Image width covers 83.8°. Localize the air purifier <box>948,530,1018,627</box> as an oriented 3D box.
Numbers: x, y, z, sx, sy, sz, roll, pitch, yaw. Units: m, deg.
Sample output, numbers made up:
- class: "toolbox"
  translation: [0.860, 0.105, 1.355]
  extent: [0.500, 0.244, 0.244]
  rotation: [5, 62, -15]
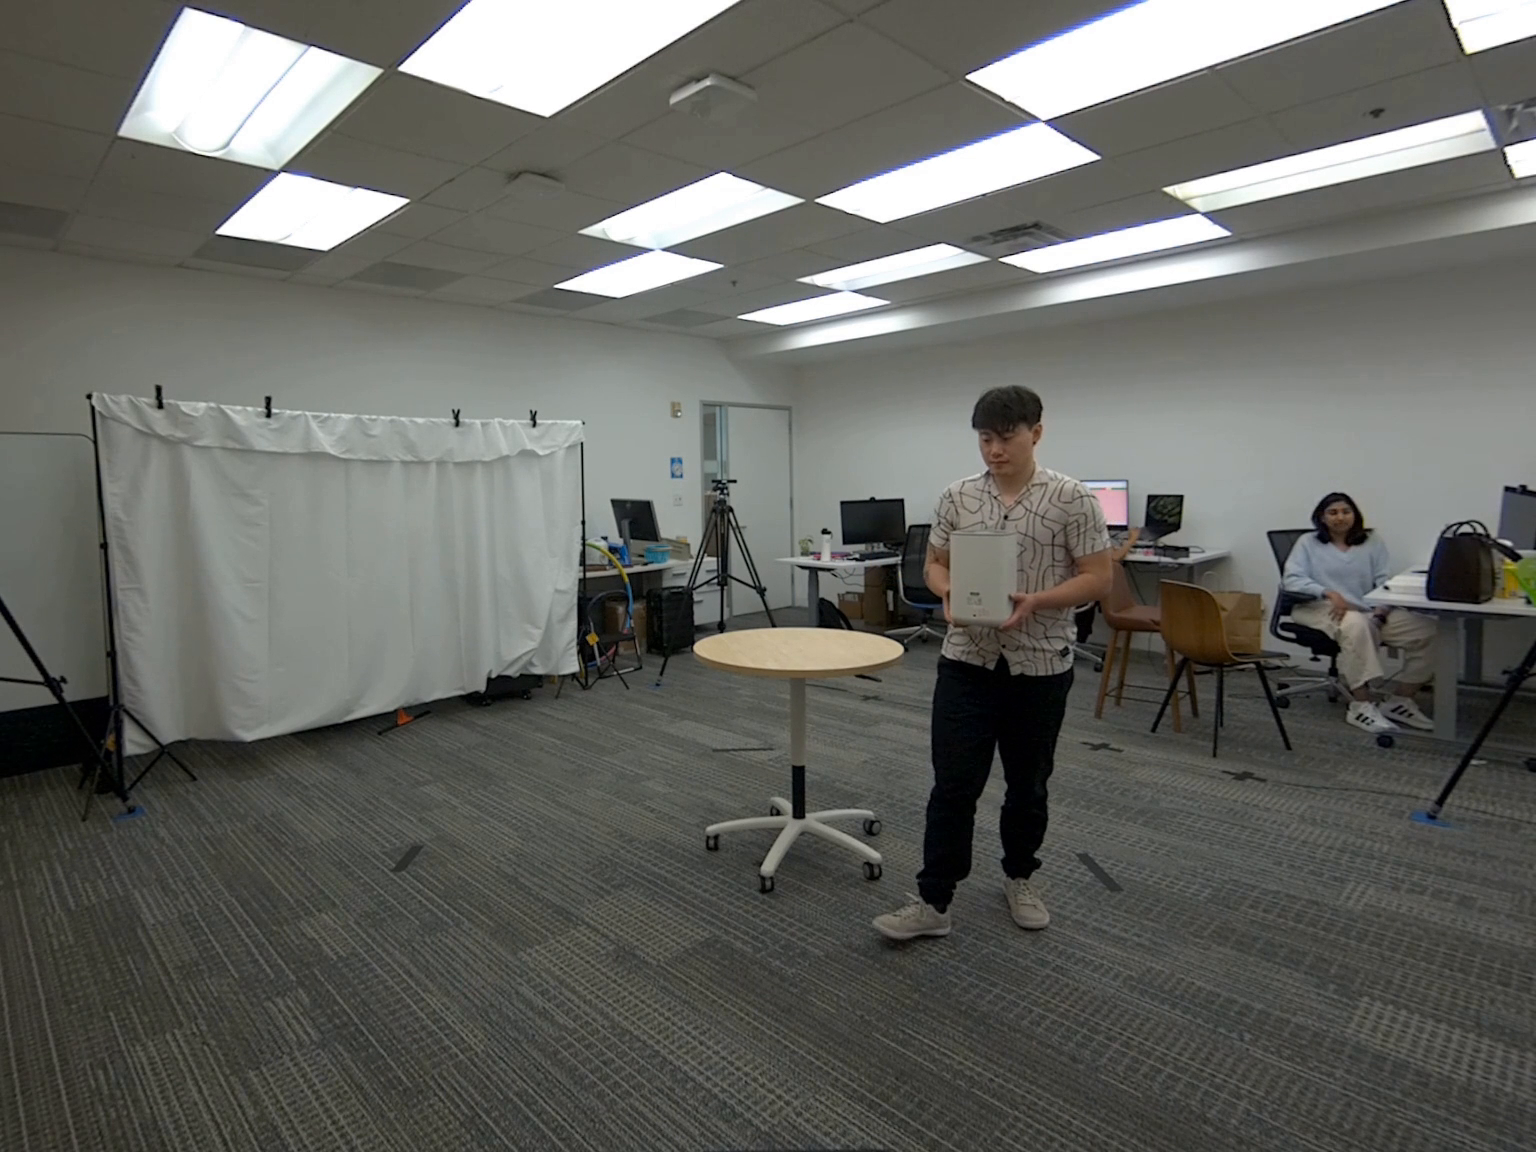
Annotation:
- class: "air purifier"
  translation: [0.627, 0.005, 2.464]
  extent: [0.175, 0.264, 0.168]
  rotation: [3, 5, 26]
